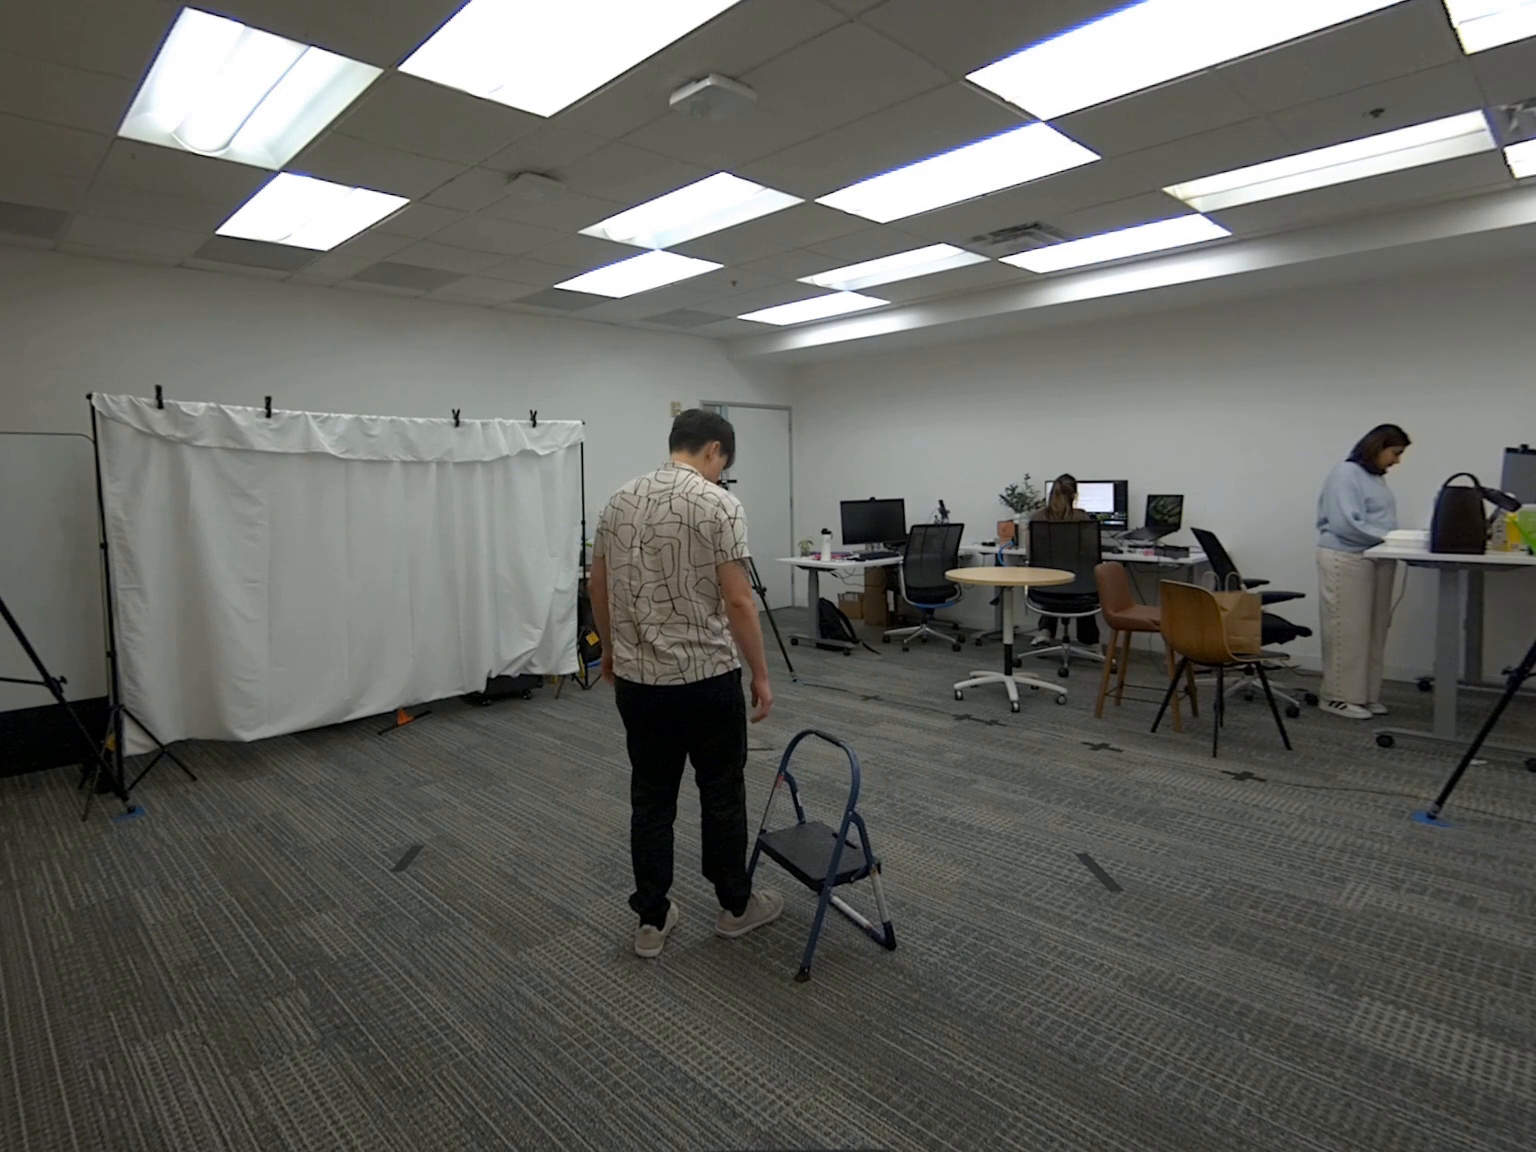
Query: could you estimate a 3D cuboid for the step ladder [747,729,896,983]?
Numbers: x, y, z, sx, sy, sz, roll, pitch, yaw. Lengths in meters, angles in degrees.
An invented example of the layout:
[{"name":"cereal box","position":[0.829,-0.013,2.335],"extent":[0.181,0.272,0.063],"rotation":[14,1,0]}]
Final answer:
[{"name":"step ladder","position":[0.134,0.796,2.619],"extent":[0.341,0.603,0.442],"rotation":[-4,6,-29]}]
